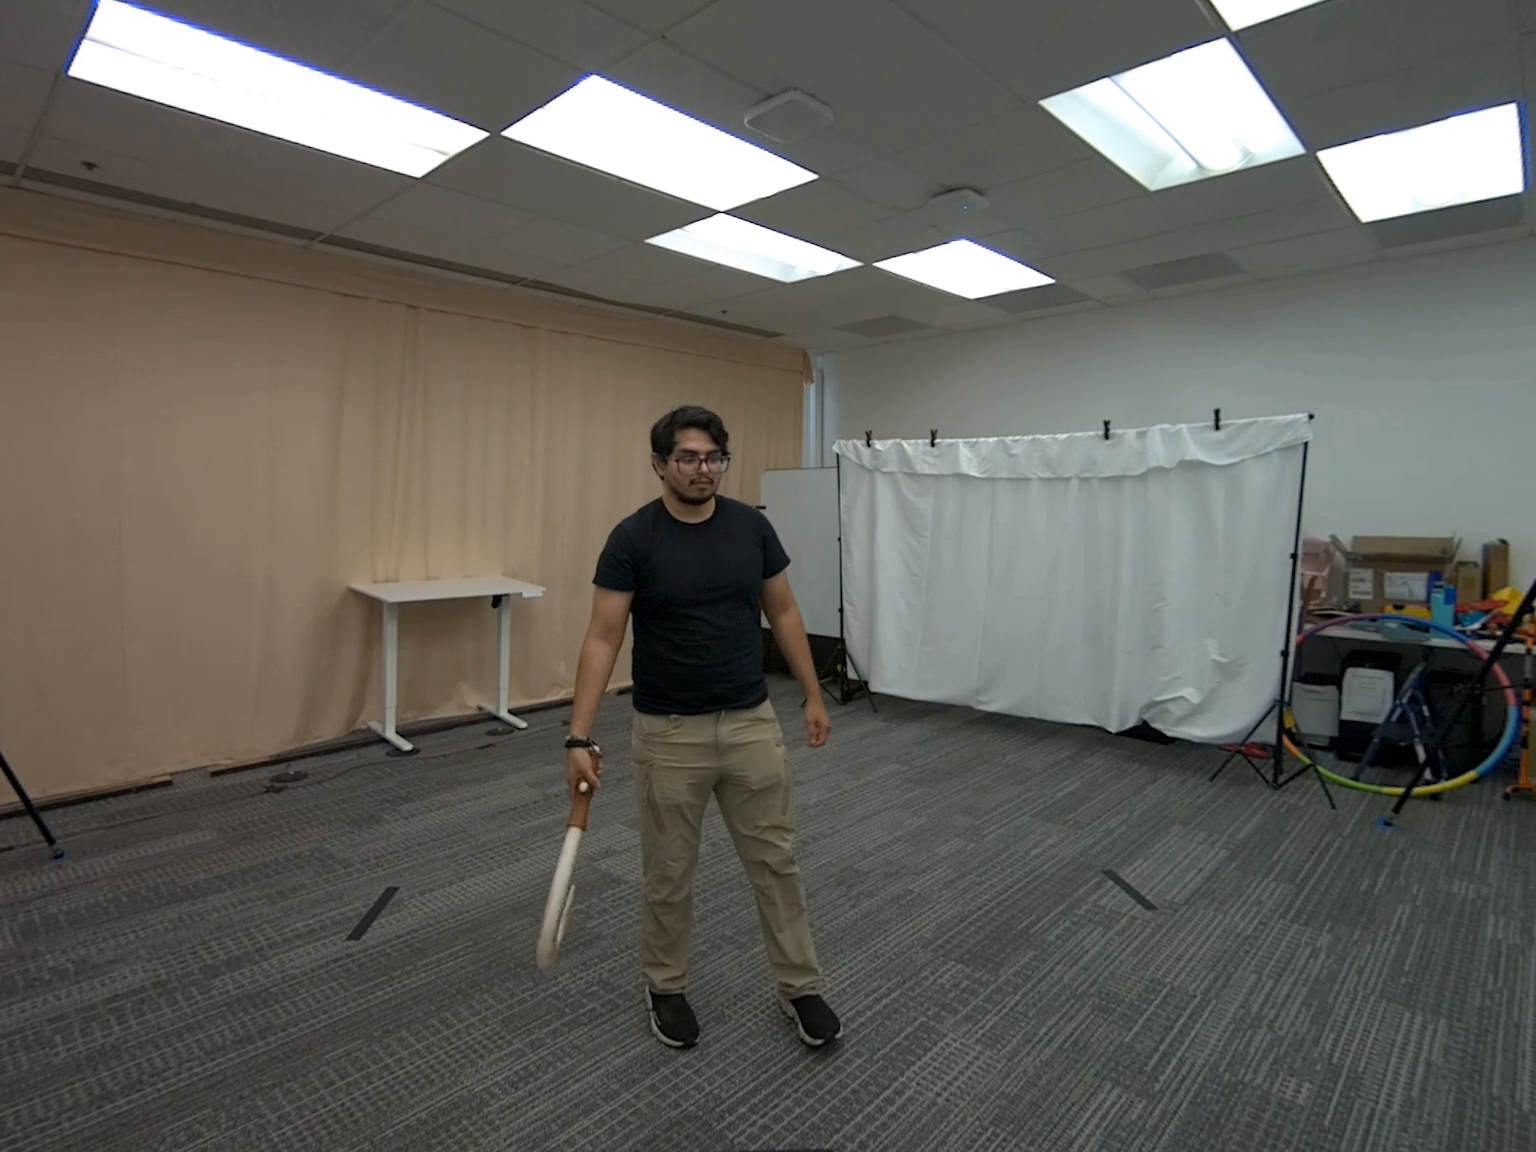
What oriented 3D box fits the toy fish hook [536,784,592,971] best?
[{"bbox_3d":[-0.464,0.665,2.003,0.048,0.511,0.222,13,-30,-1],"label":"toy fish hook"}]
